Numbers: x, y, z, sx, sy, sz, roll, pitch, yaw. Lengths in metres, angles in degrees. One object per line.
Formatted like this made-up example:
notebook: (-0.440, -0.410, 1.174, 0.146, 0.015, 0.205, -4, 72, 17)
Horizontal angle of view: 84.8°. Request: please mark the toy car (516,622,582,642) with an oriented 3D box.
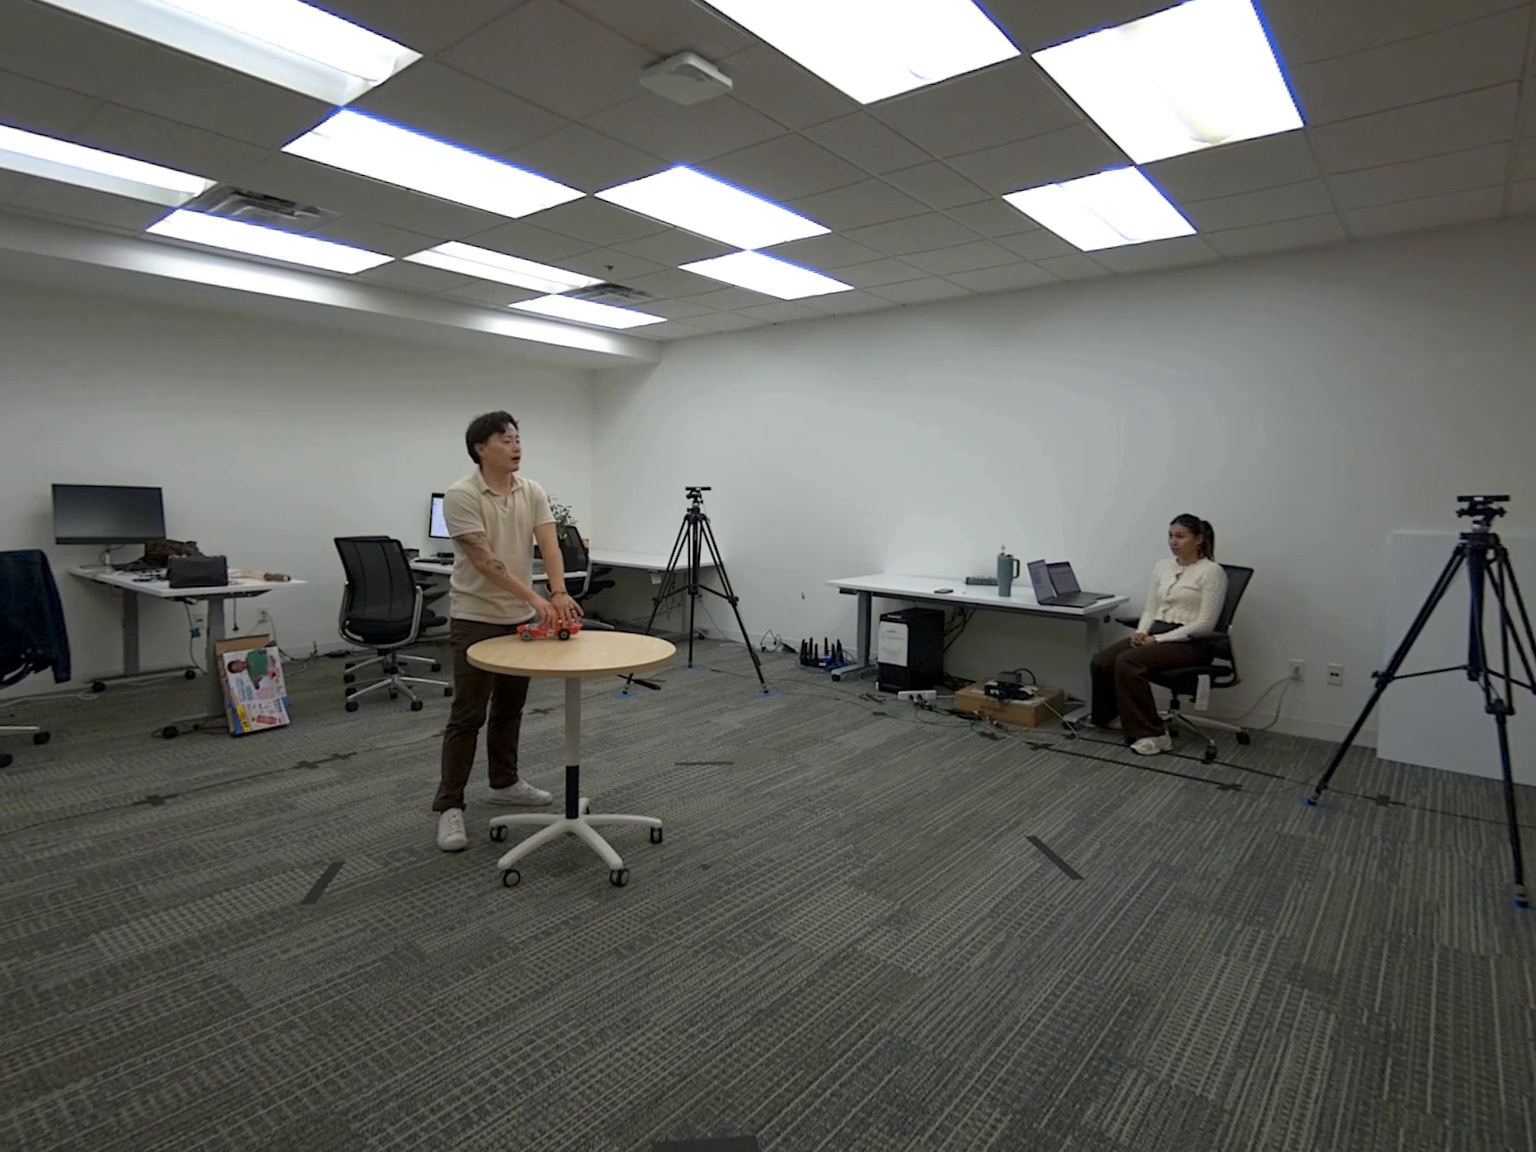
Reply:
toy car: (-0.877, 0.216, 3.365, 0.252, 0.082, 0.133, -11, 8, -13)
